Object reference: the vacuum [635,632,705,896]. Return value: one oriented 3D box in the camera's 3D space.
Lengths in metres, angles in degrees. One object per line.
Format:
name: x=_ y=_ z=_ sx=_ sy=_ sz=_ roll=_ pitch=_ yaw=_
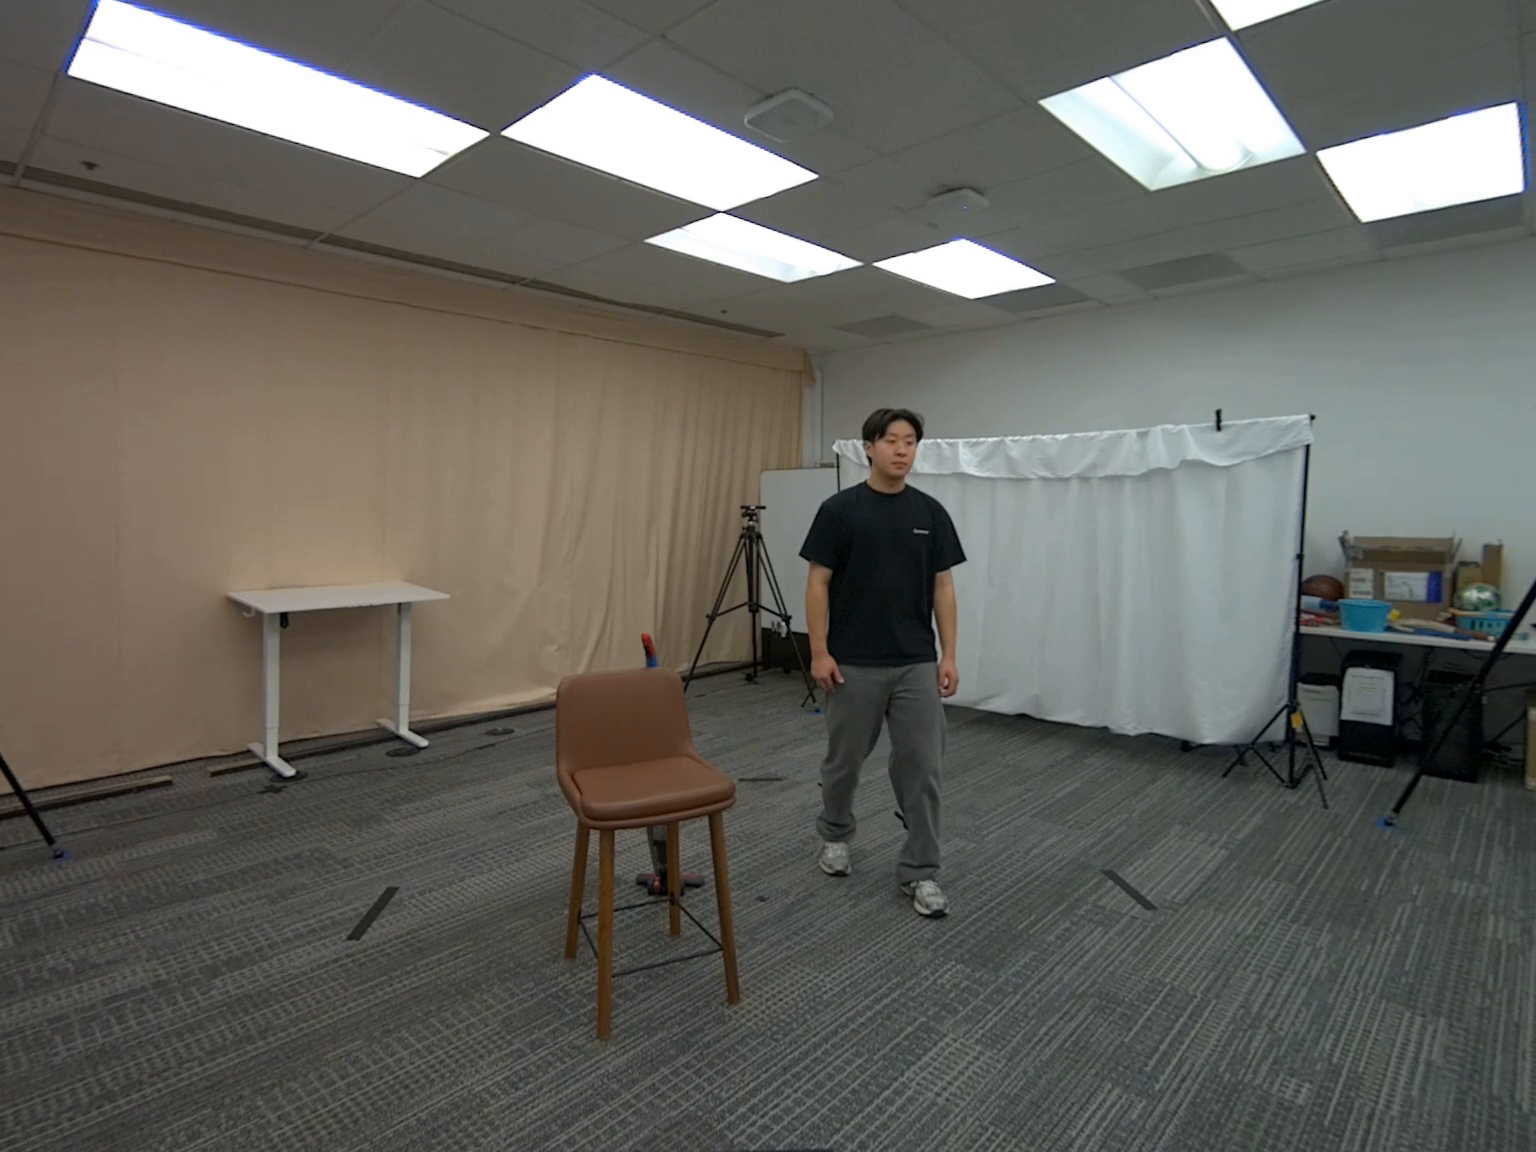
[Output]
vacuum: x=-0.383 y=0.663 z=2.859 sx=0.253 sy=1.035 sz=0.145 roll=1 pitch=23 yaw=2
